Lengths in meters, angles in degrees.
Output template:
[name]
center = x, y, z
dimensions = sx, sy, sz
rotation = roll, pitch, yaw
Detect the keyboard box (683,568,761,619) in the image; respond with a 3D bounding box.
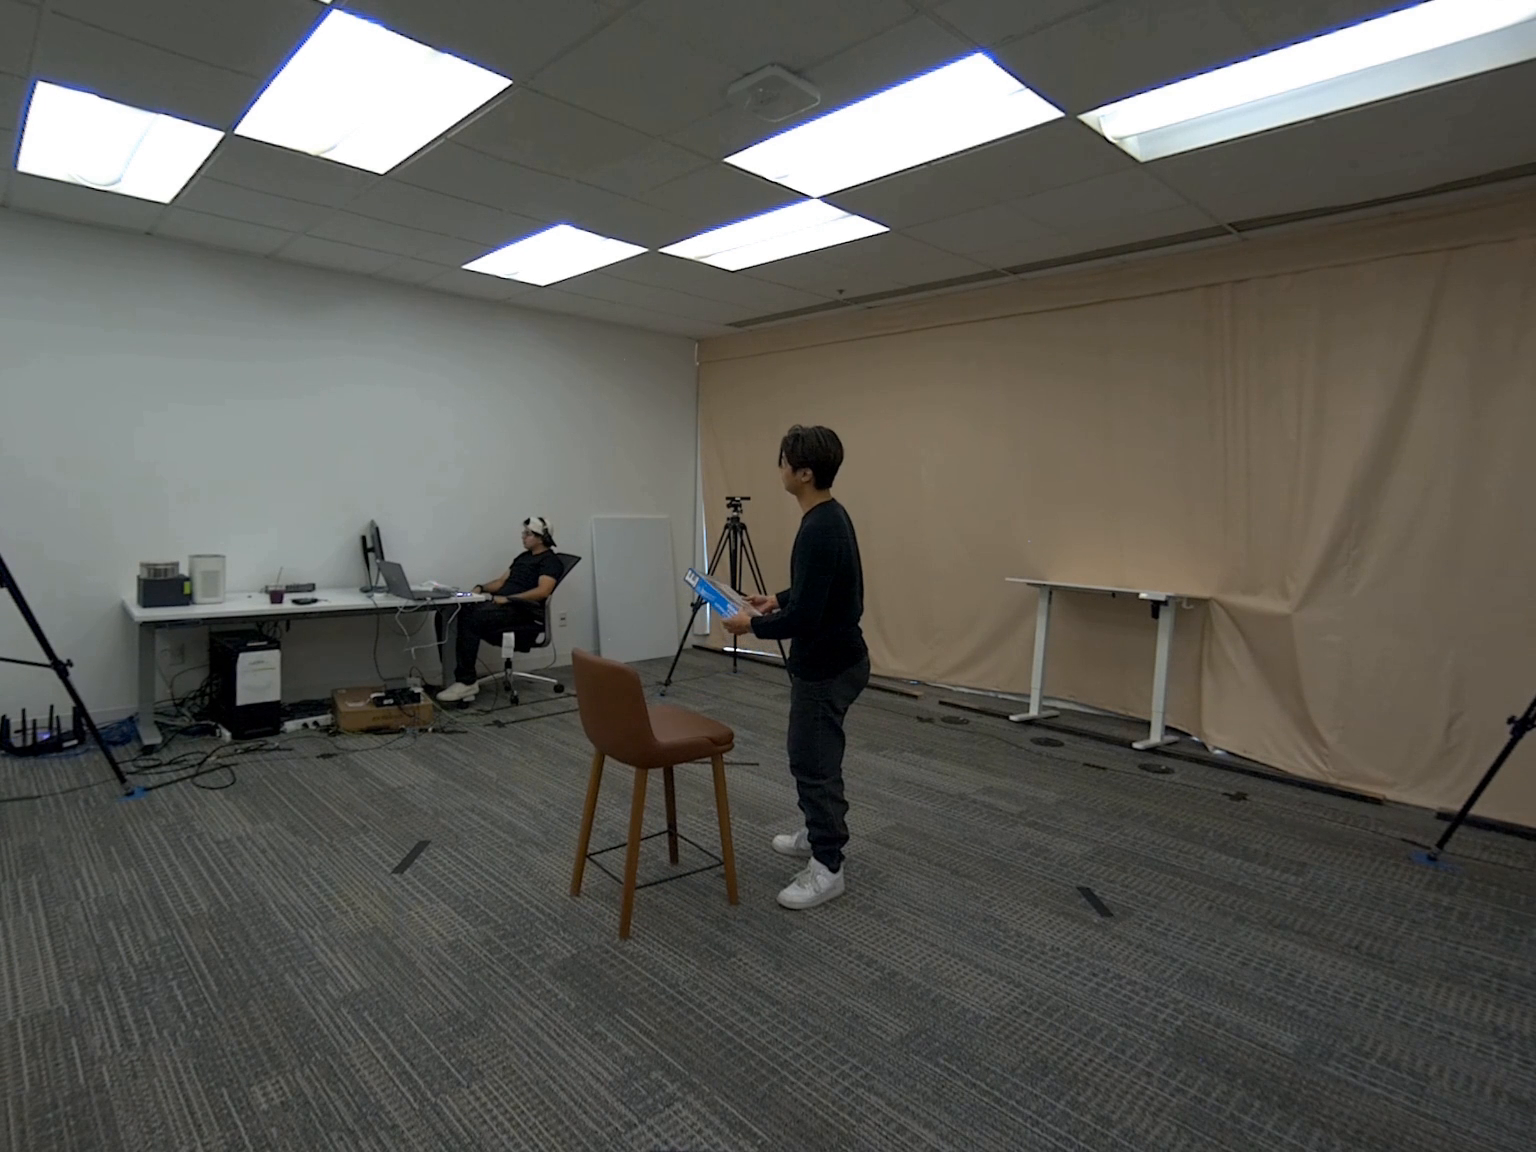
[keyboard box]
center = -0.161, 0.098, 3.214
dimensions = 0.171, 0.059, 0.450
rotation = 24, 7, -34
